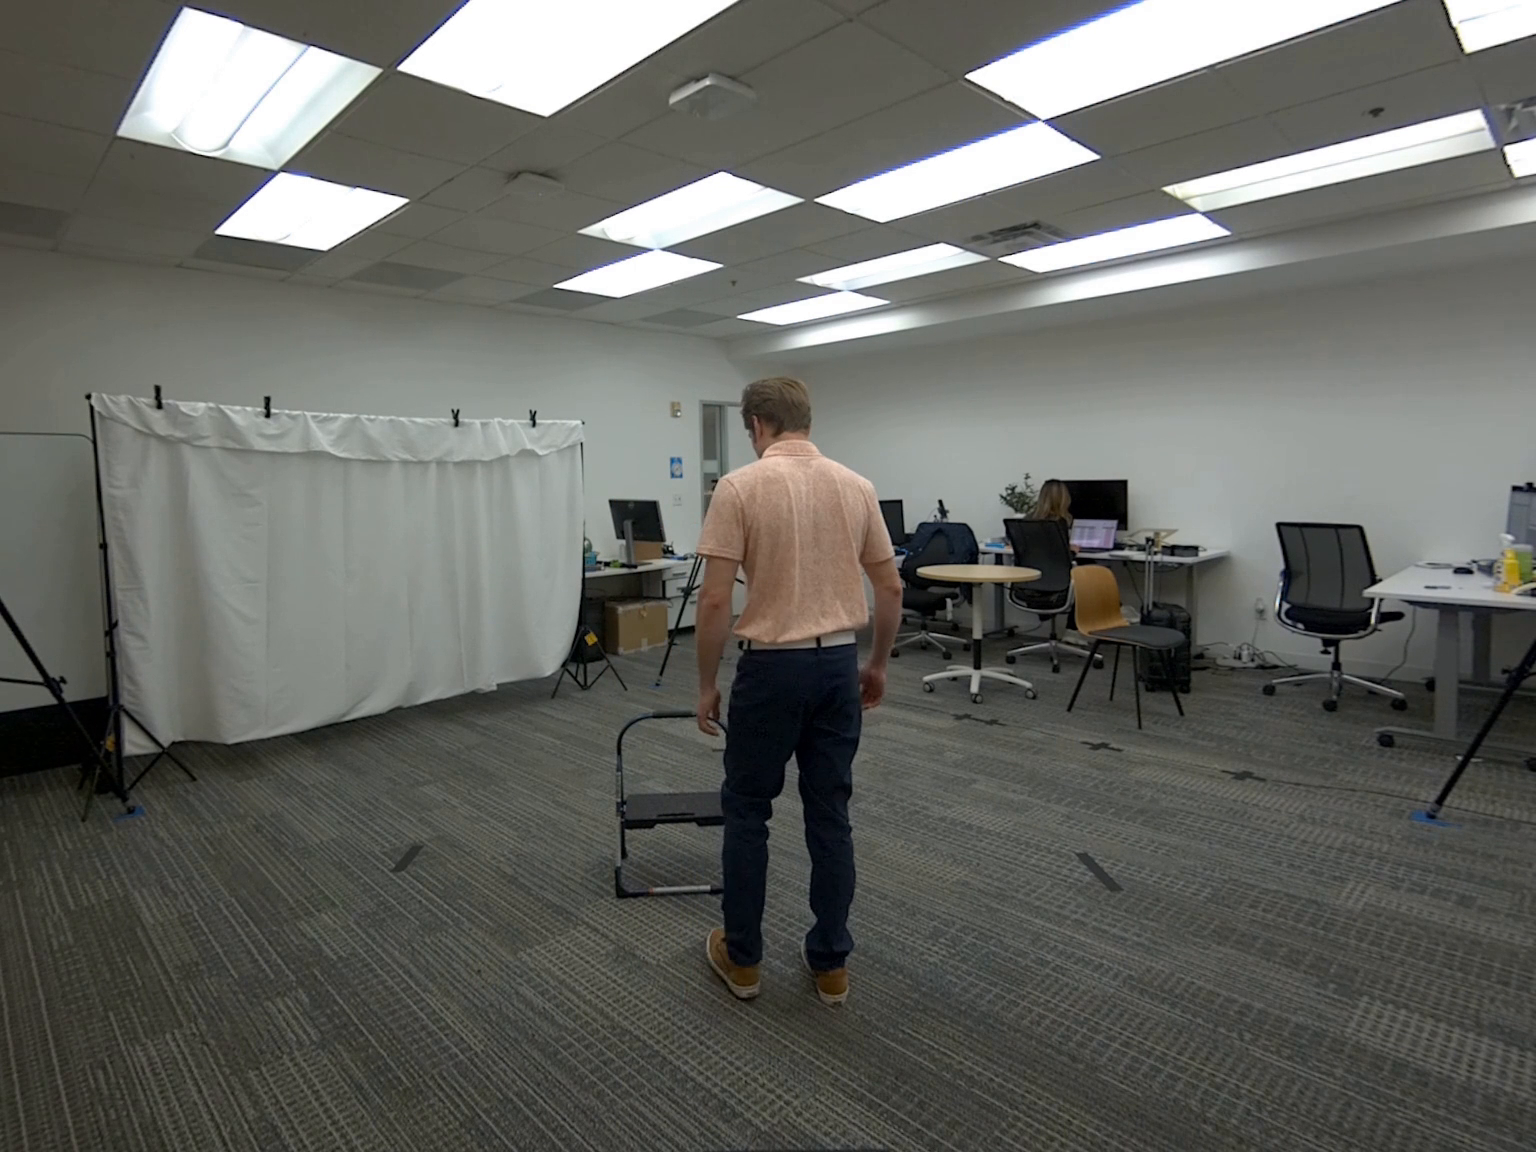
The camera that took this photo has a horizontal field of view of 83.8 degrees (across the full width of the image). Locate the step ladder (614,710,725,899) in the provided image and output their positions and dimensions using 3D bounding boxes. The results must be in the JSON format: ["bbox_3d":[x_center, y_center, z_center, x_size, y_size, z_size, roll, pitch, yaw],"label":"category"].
[{"bbox_3d":[-0.329,0.758,3.022,0.429,0.603,0.352,-2,5,-5],"label":"step ladder"}]
